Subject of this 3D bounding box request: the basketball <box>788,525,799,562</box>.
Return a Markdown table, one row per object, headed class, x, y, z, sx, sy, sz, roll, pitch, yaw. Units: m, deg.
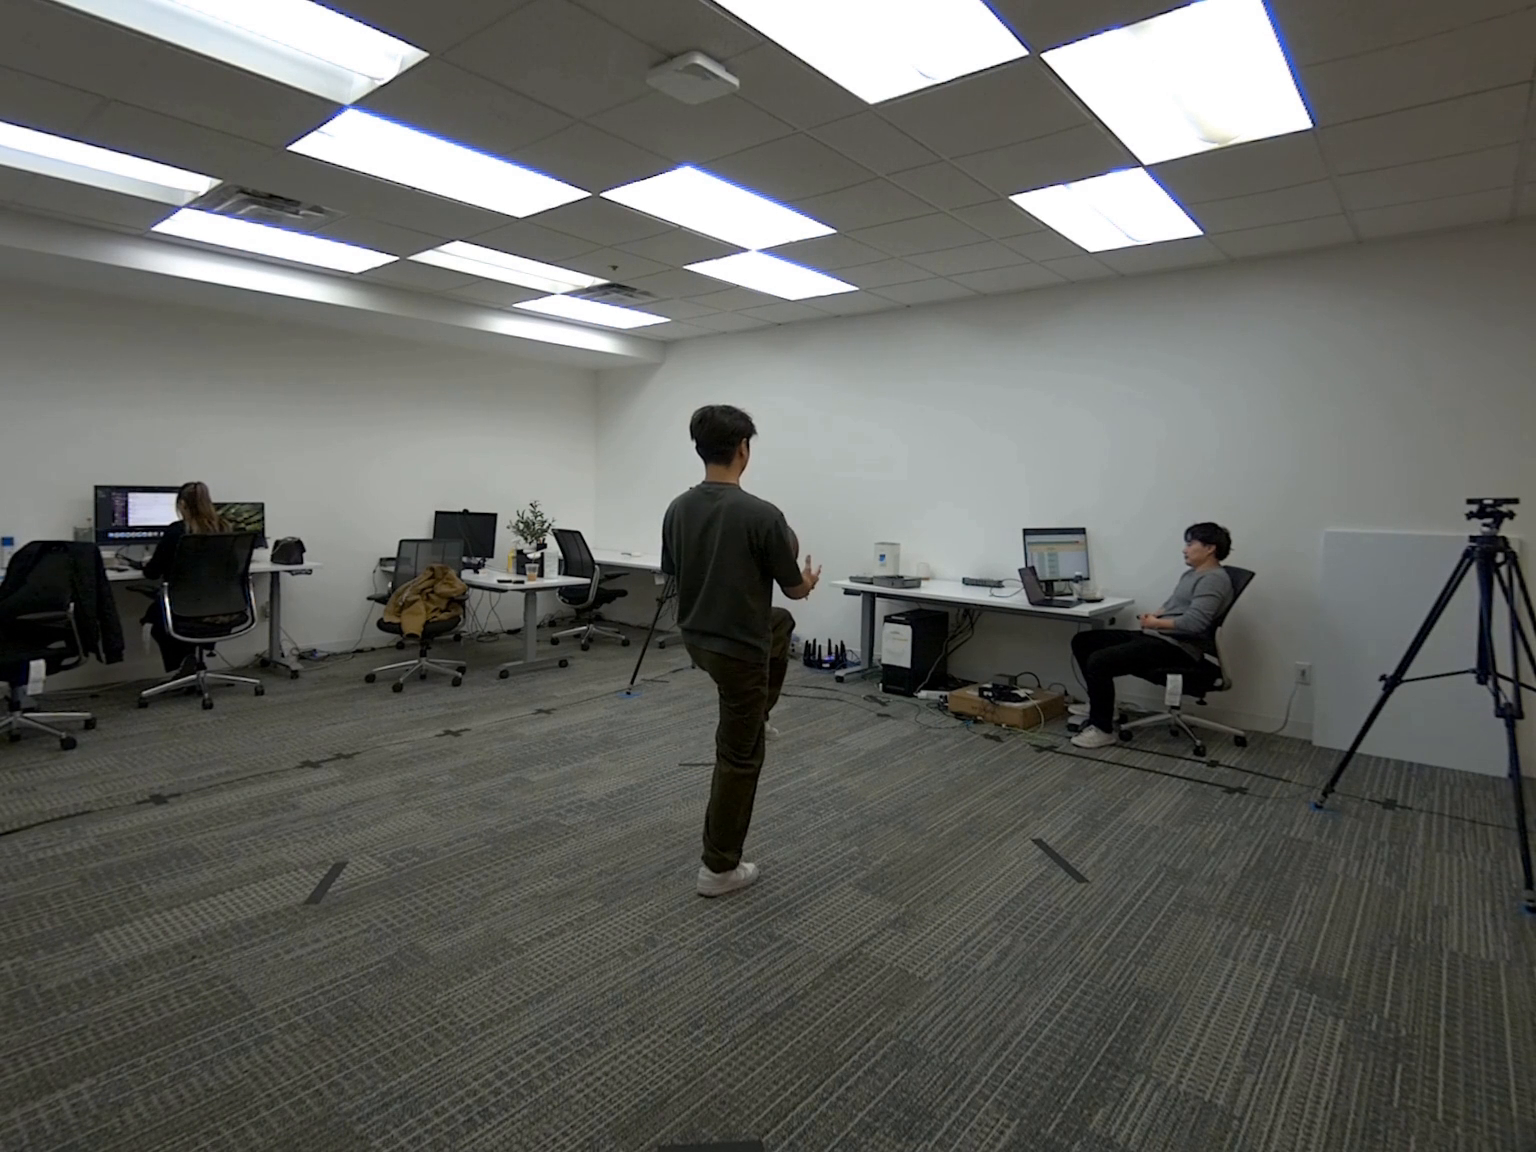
| class | x | y | z | sx | sy | sz | roll | pitch | yaw |
| --- | --- | --- | --- | --- | --- | --- | --- | --- | --- |
| basketball | -0.006 | -0.100 | 3.273 | 0.235 | 0.235 | 0.237 | 1 | 4 | -2 |
